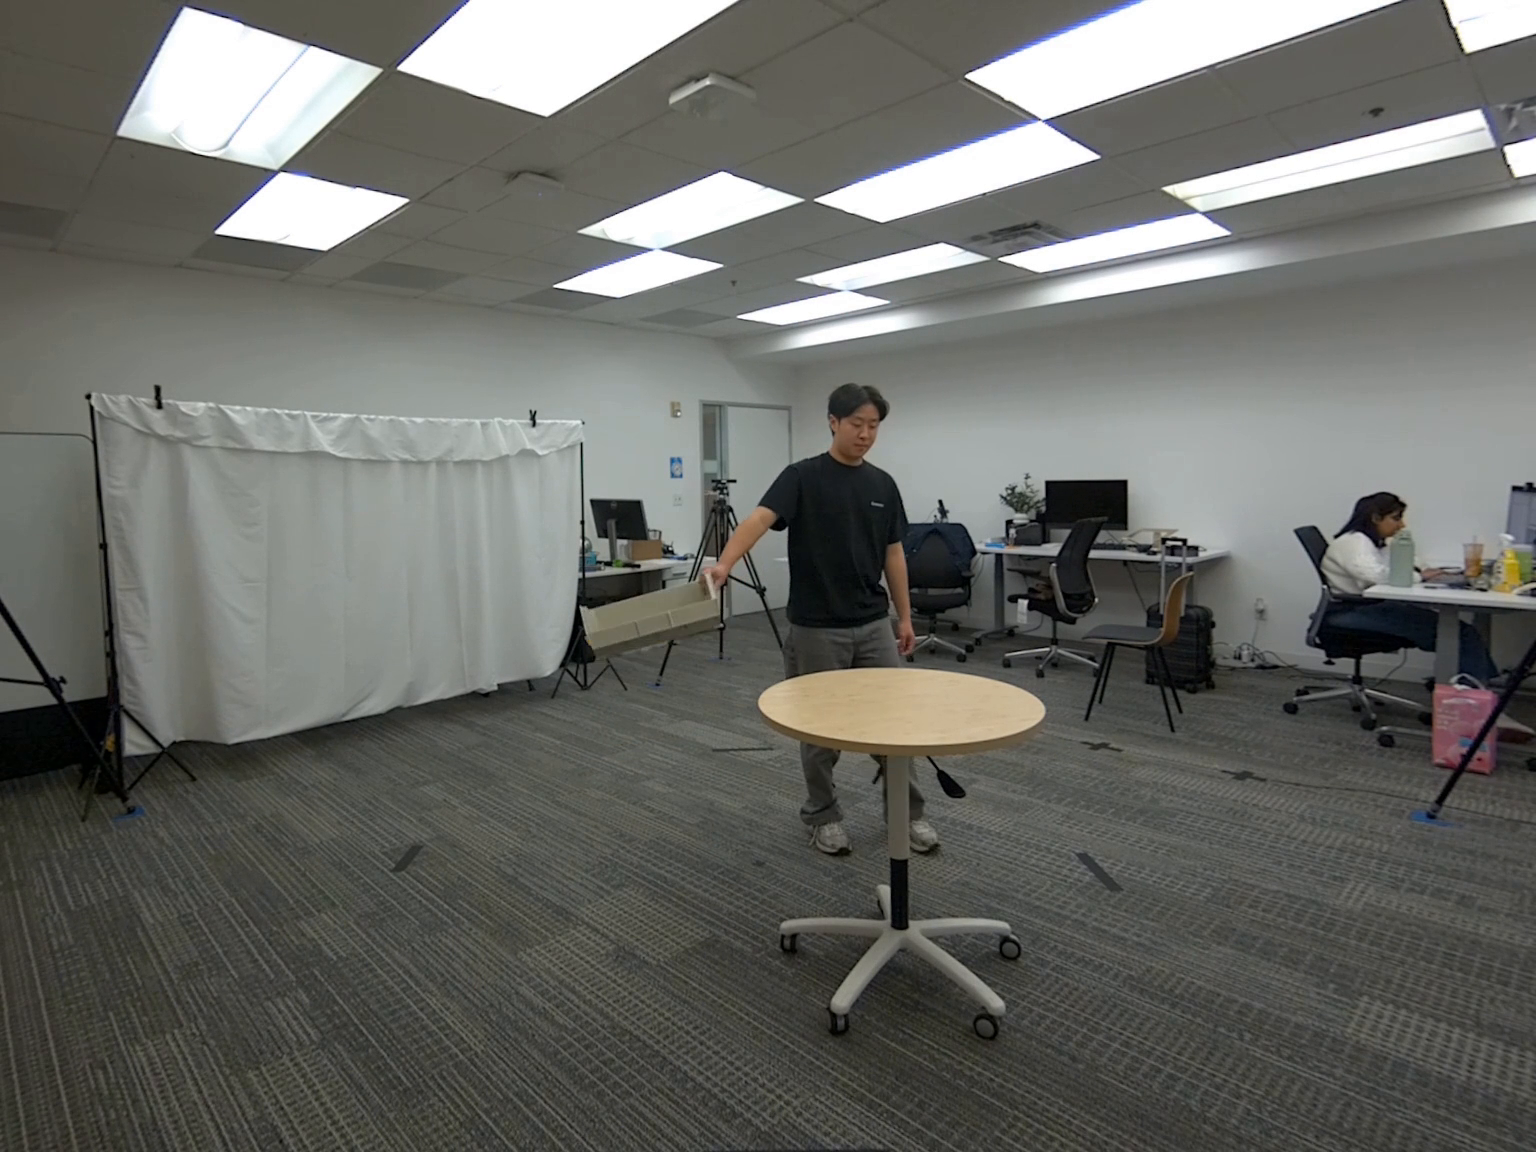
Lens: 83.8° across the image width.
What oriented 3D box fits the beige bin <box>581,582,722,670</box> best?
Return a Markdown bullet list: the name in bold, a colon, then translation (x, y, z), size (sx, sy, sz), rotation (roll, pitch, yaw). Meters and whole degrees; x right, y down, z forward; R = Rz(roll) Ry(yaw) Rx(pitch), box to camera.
- **beige bin**: translation (-0.366, 0.130, 2.796), size (0.421, 0.190, 0.376), rotation (-15, -4, -5)
